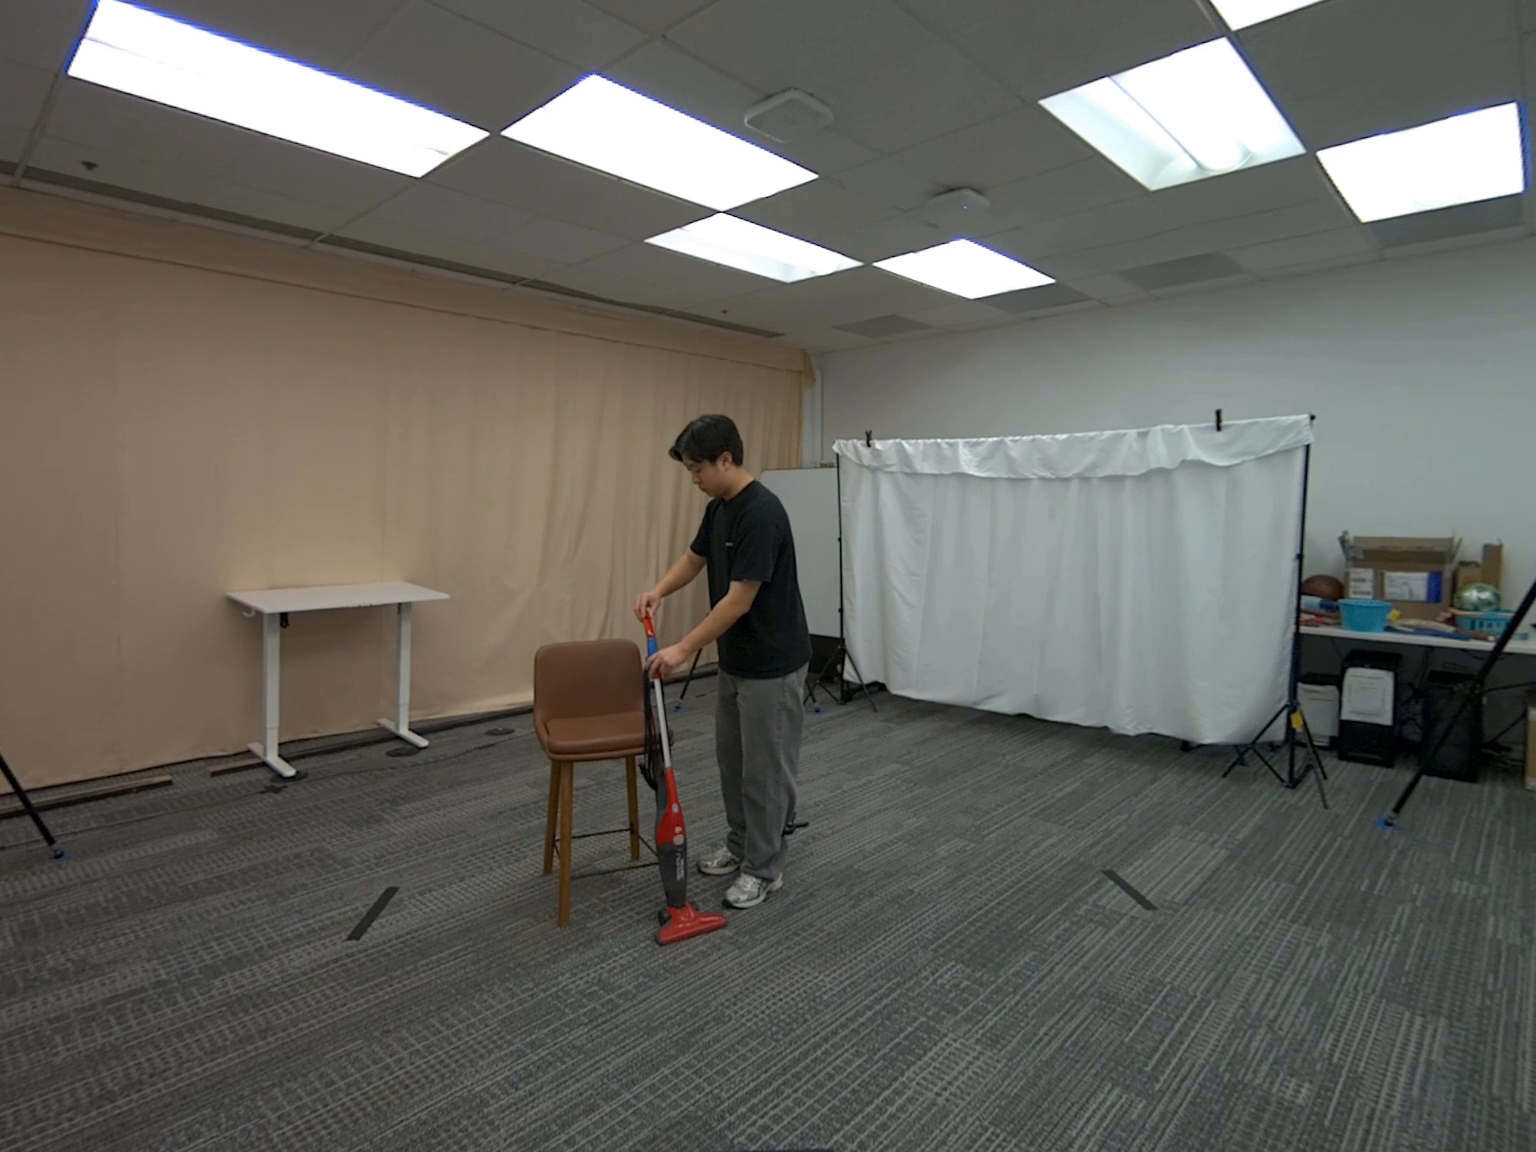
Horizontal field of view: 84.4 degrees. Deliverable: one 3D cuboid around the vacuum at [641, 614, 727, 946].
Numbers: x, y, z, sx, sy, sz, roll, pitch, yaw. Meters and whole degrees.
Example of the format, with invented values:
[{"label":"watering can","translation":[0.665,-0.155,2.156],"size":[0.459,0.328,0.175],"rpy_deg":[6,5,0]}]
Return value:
[{"label":"vacuum","translation":[-0.360,0.647,2.867],"size":[0.245,1.056,0.147],"rpy_deg":[-4,-9,-33]}]
